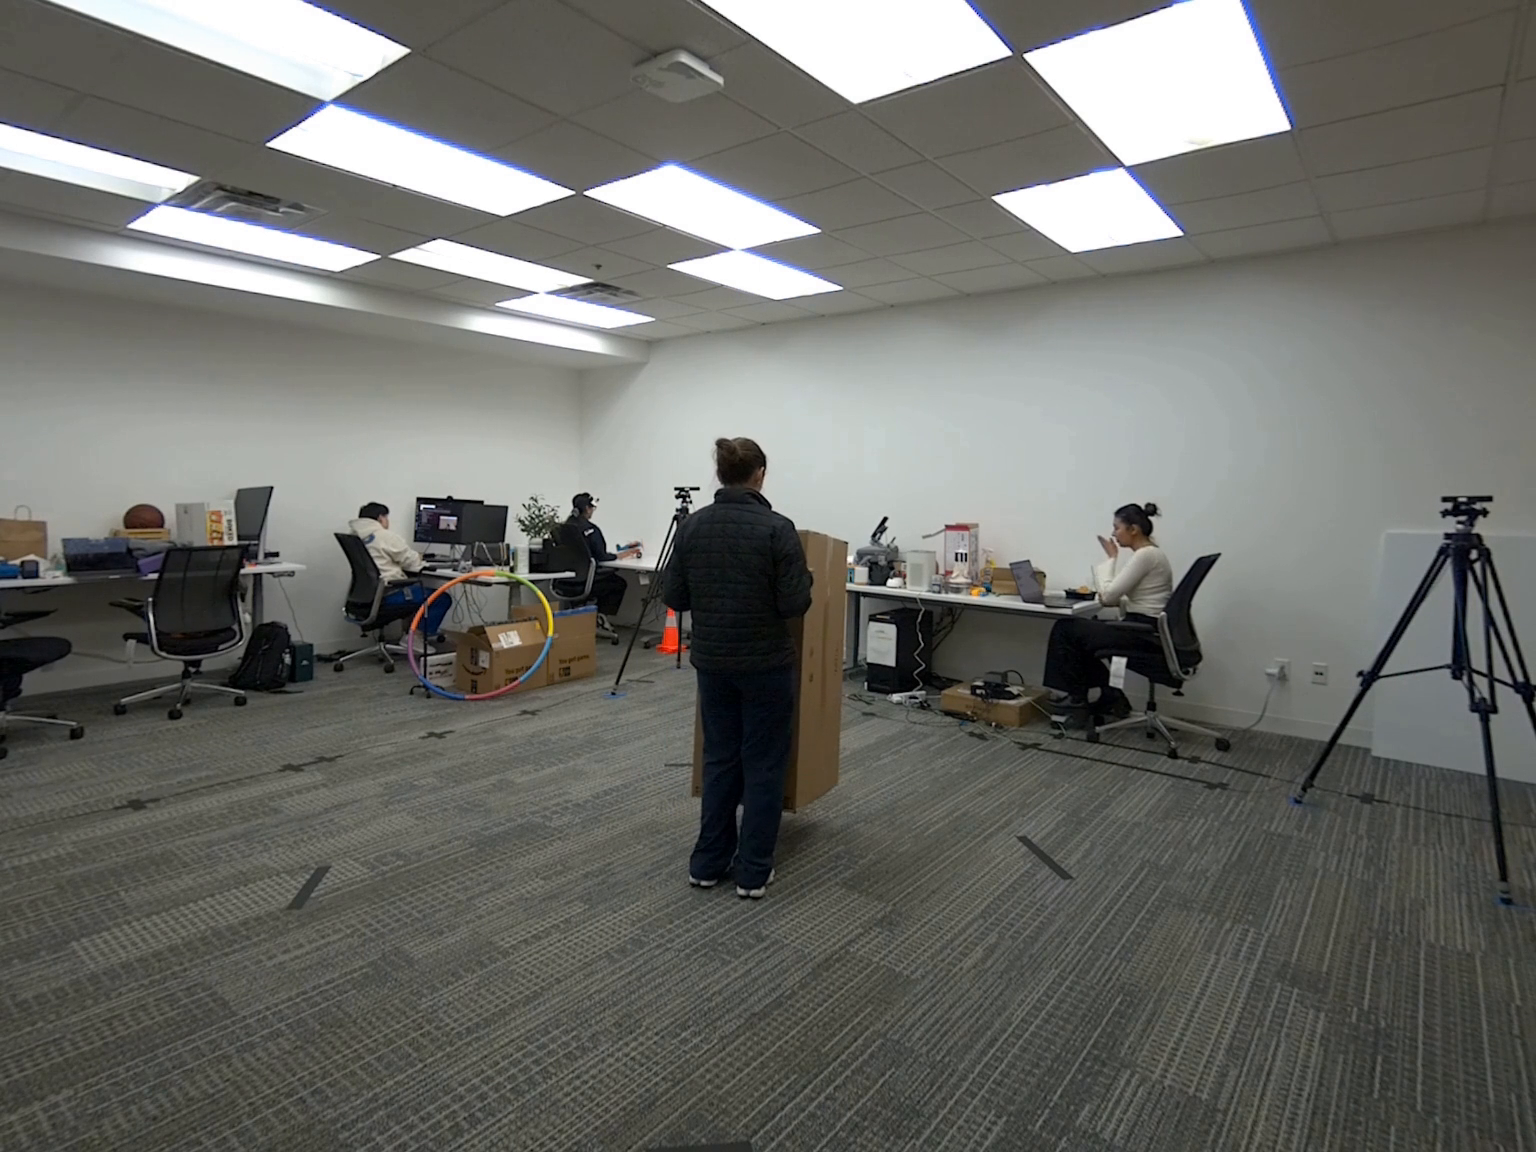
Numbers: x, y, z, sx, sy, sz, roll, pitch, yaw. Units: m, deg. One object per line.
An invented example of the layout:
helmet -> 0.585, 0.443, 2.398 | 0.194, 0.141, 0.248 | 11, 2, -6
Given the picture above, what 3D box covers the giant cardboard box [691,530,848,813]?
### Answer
giant cardboard box -> 0.052, 0.348, 3.443 | 0.437, 1.029, 0.562 | 1, -3, 24
